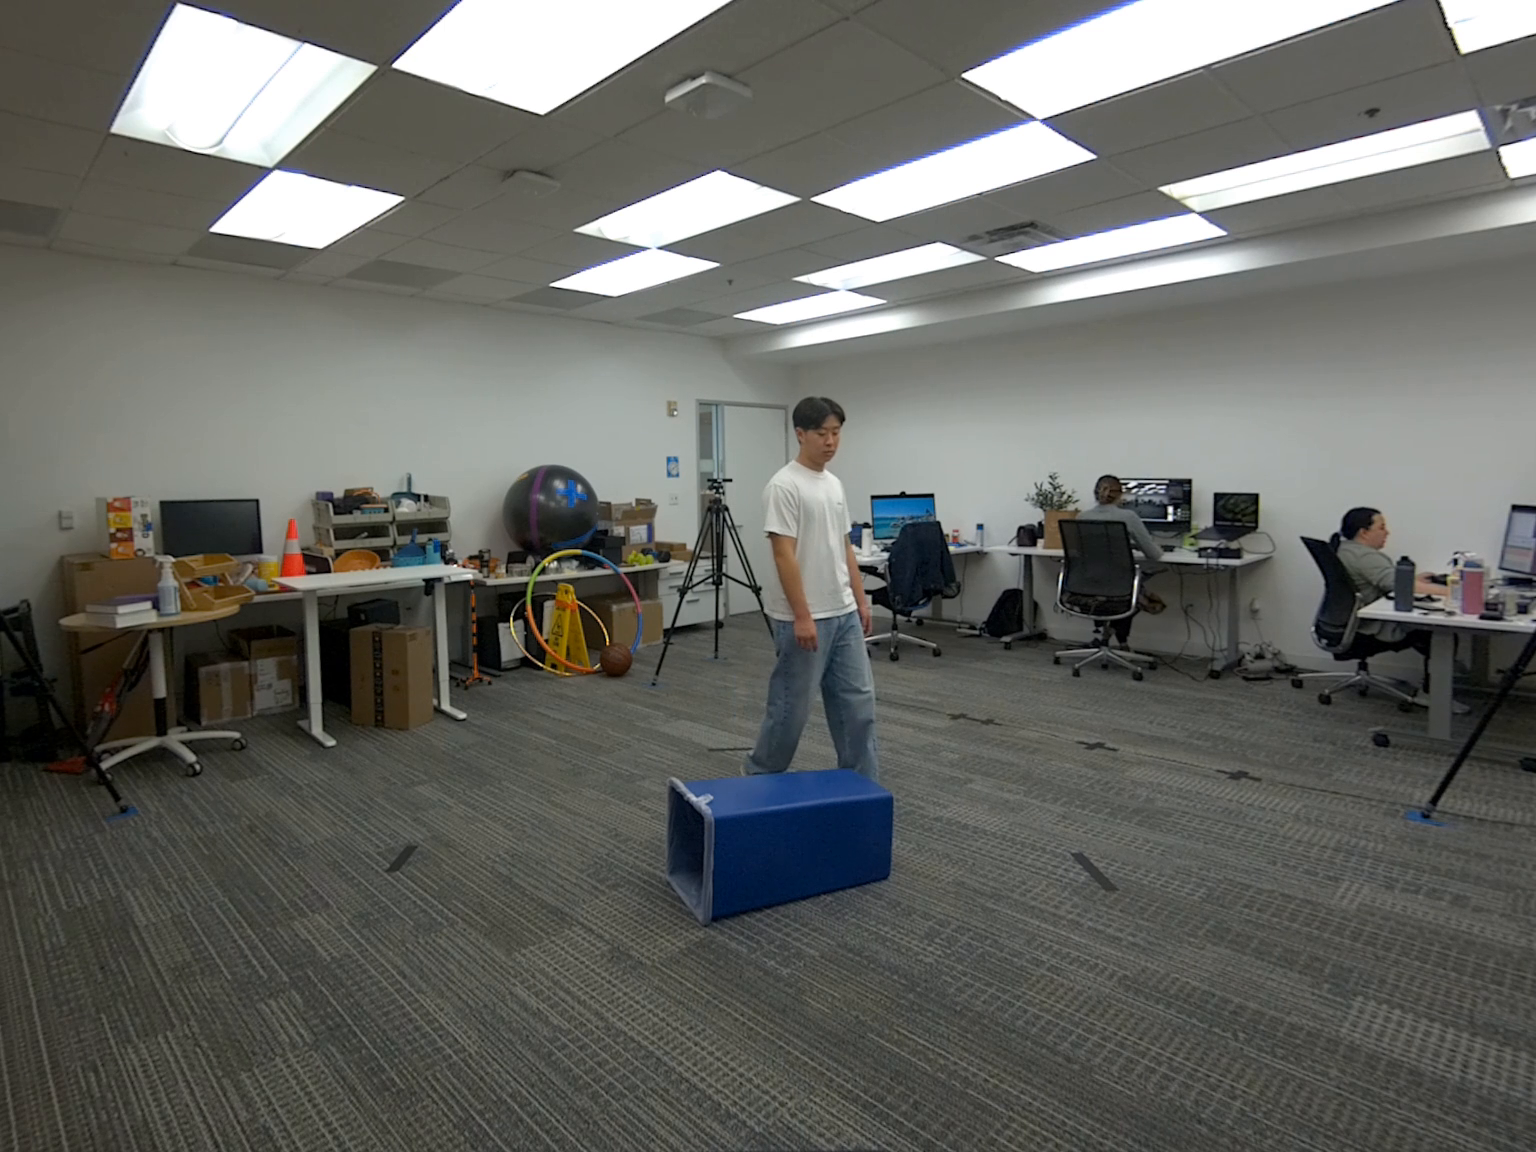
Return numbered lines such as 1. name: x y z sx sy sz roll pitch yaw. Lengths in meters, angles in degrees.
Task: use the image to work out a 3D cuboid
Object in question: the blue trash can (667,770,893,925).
1. blue trash can: 0.042 0.897 2.961 0.698 0.377 0.383 0 4 -25
